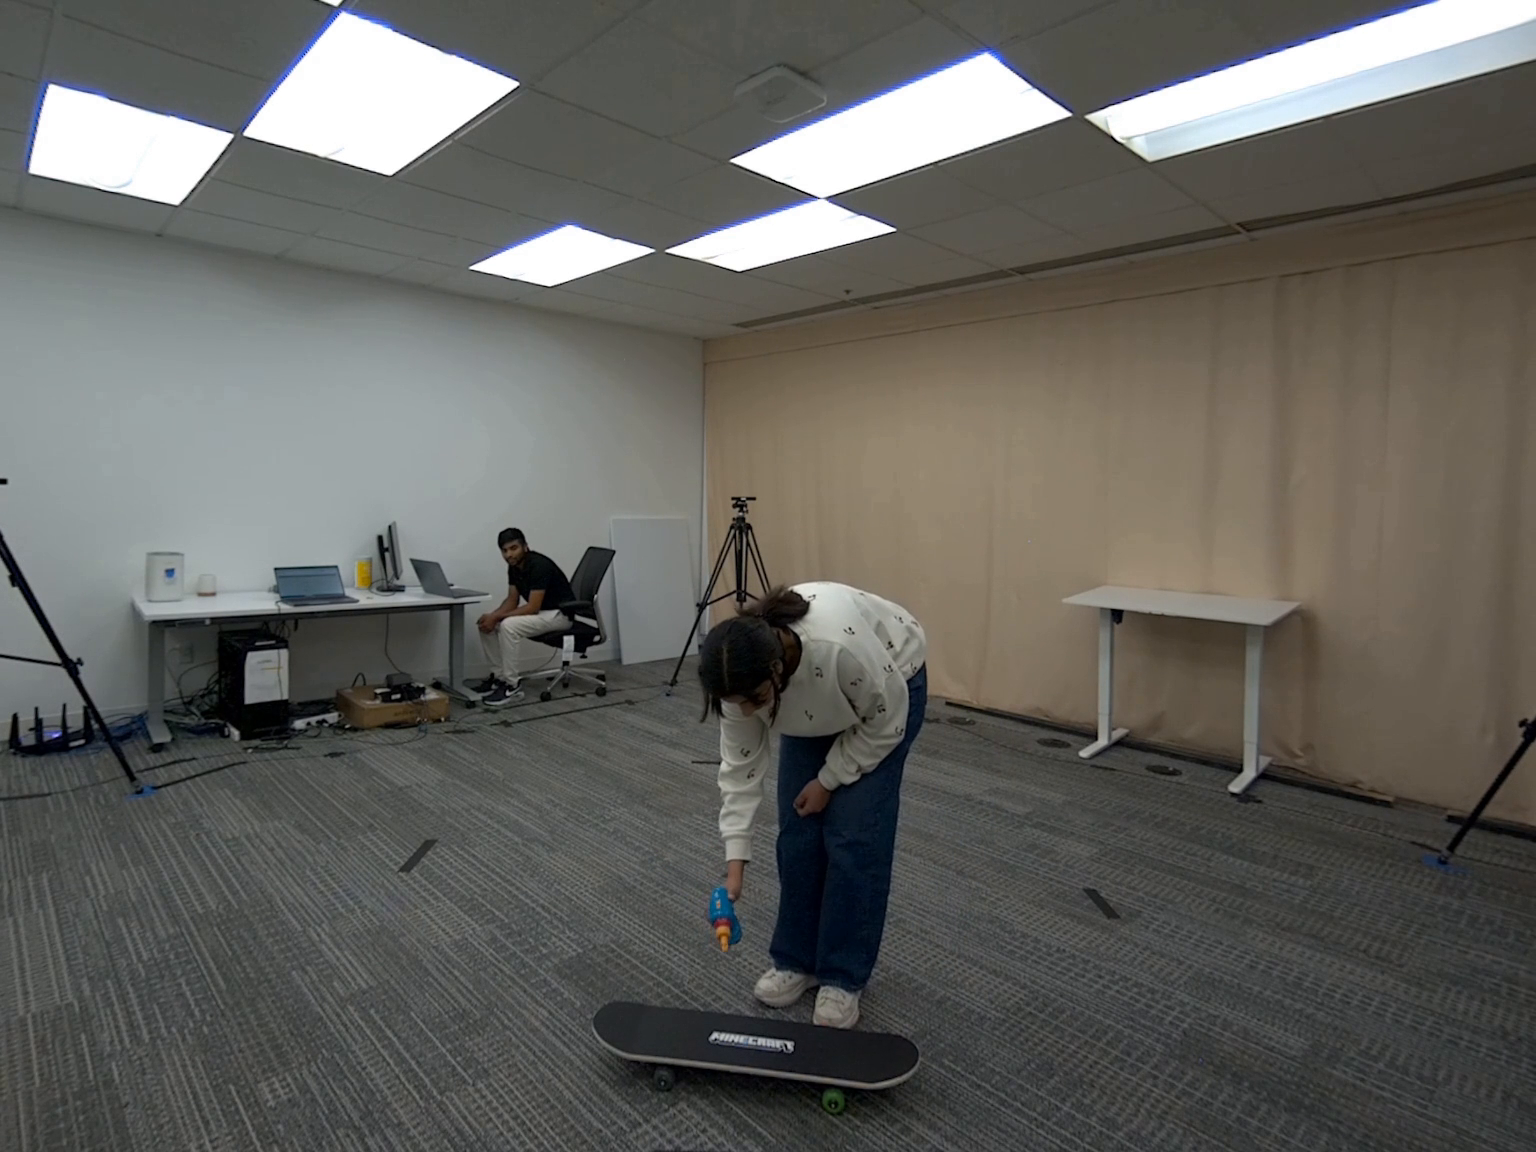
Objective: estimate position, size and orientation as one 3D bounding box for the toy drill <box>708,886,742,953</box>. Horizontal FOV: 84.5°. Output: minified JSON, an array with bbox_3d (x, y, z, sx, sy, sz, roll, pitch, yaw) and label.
[{"bbox_3d":[-0.111,0.855,2.011,0.061,0.142,0.173,-13,33,4],"label":"toy drill"}]
